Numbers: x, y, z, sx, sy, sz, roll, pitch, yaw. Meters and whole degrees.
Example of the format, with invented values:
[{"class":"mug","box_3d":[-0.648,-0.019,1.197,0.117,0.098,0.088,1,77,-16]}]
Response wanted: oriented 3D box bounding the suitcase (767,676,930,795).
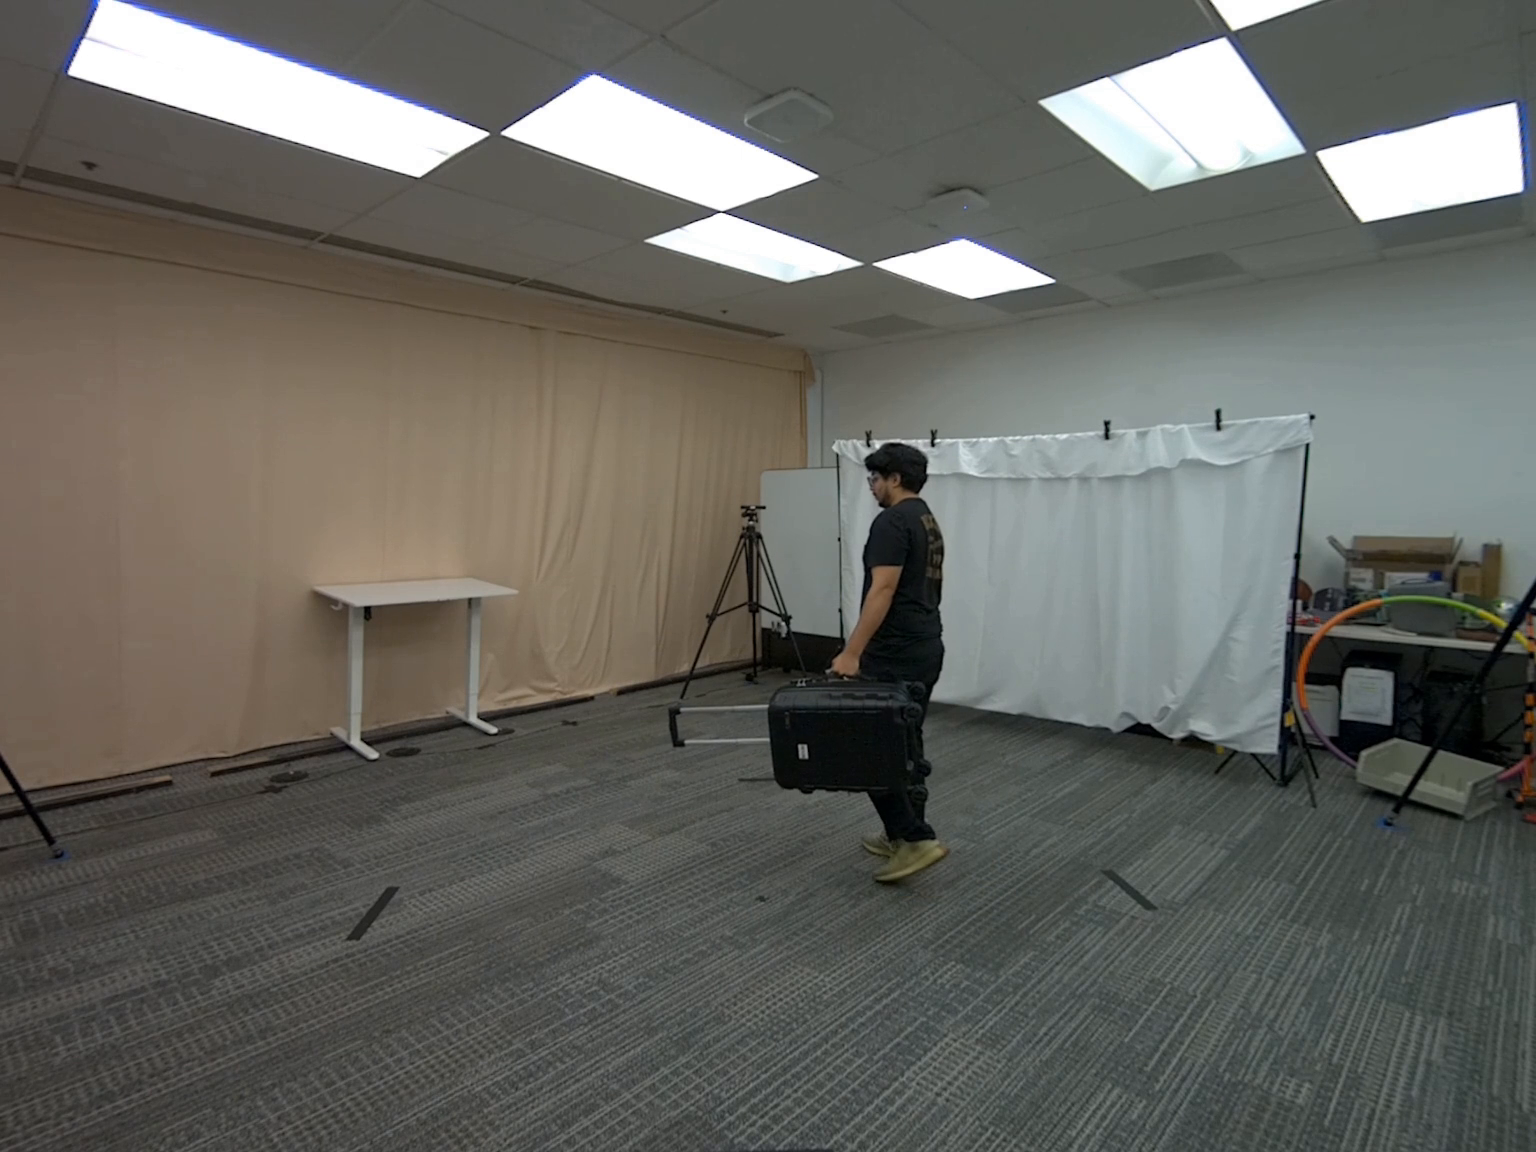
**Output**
[{"class":"suitcase","box_3d":[0.076,0.575,3.046,0.996,0.381,0.254,-3,10,17]}]
